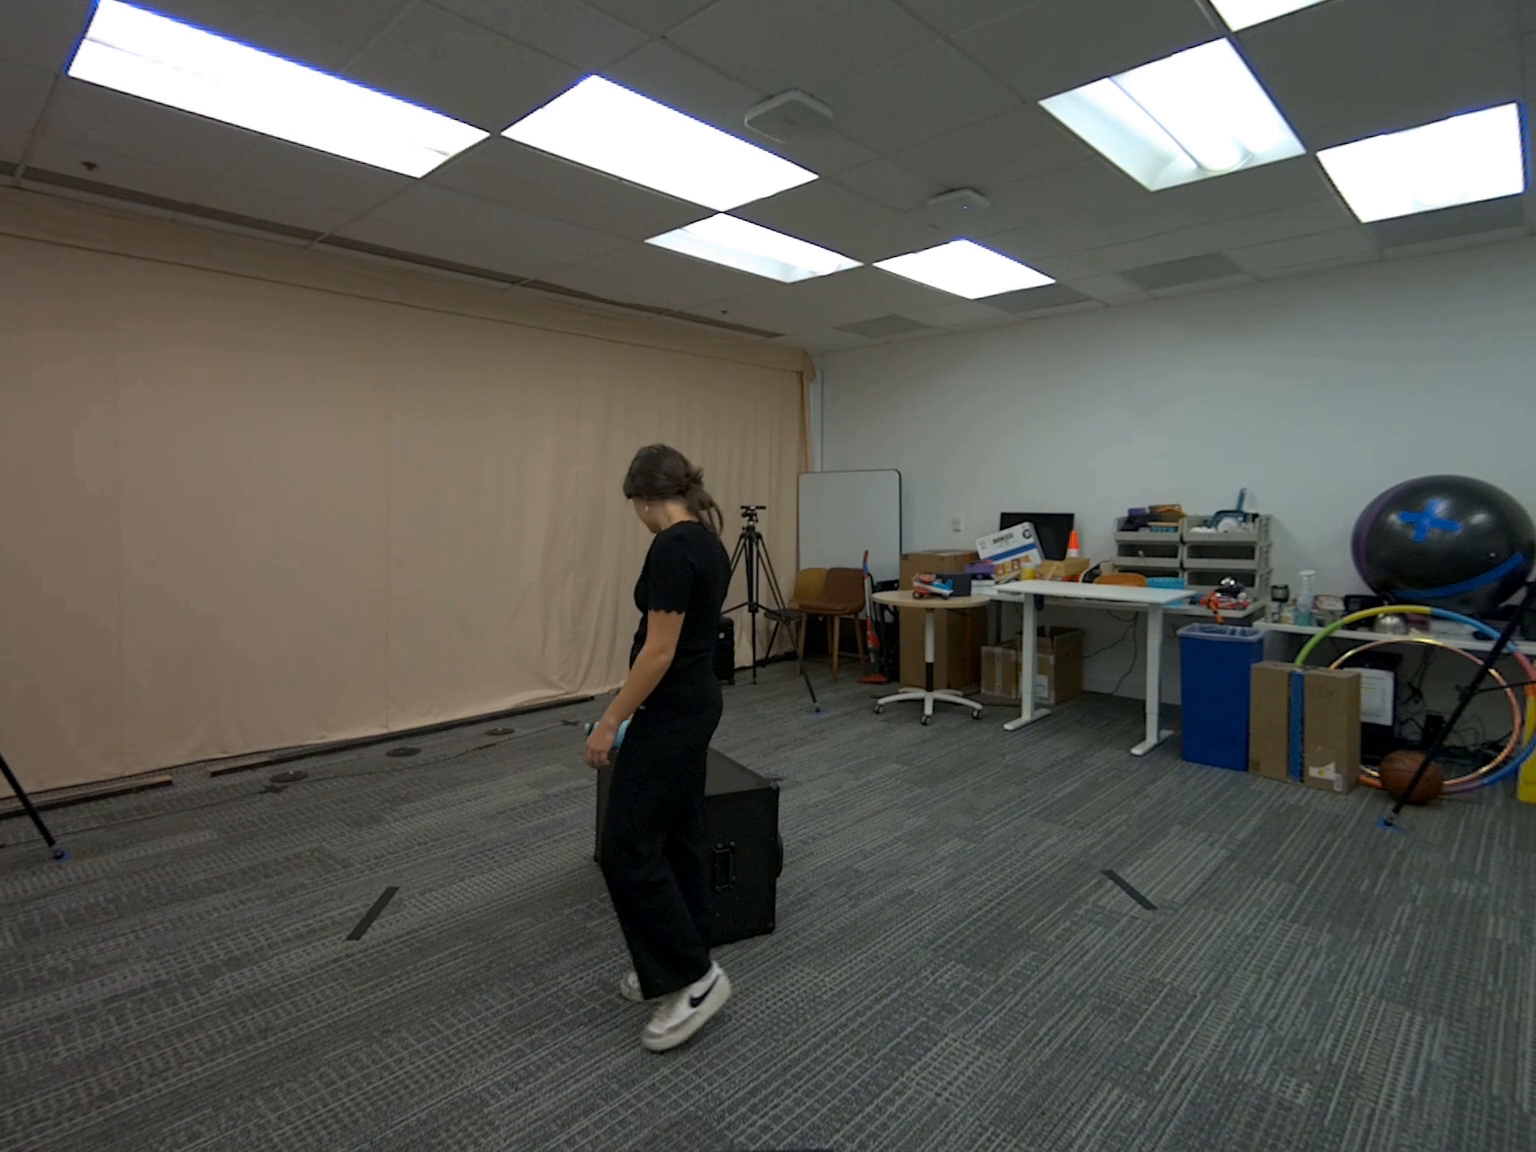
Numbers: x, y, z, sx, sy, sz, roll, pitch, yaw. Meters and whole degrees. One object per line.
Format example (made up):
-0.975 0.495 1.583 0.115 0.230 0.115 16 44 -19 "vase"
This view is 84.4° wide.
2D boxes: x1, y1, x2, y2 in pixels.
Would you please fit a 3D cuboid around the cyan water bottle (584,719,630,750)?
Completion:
-0.410 0.495 2.574 0.285 0.092 0.092 -2 4 4 "cyan water bottle"
